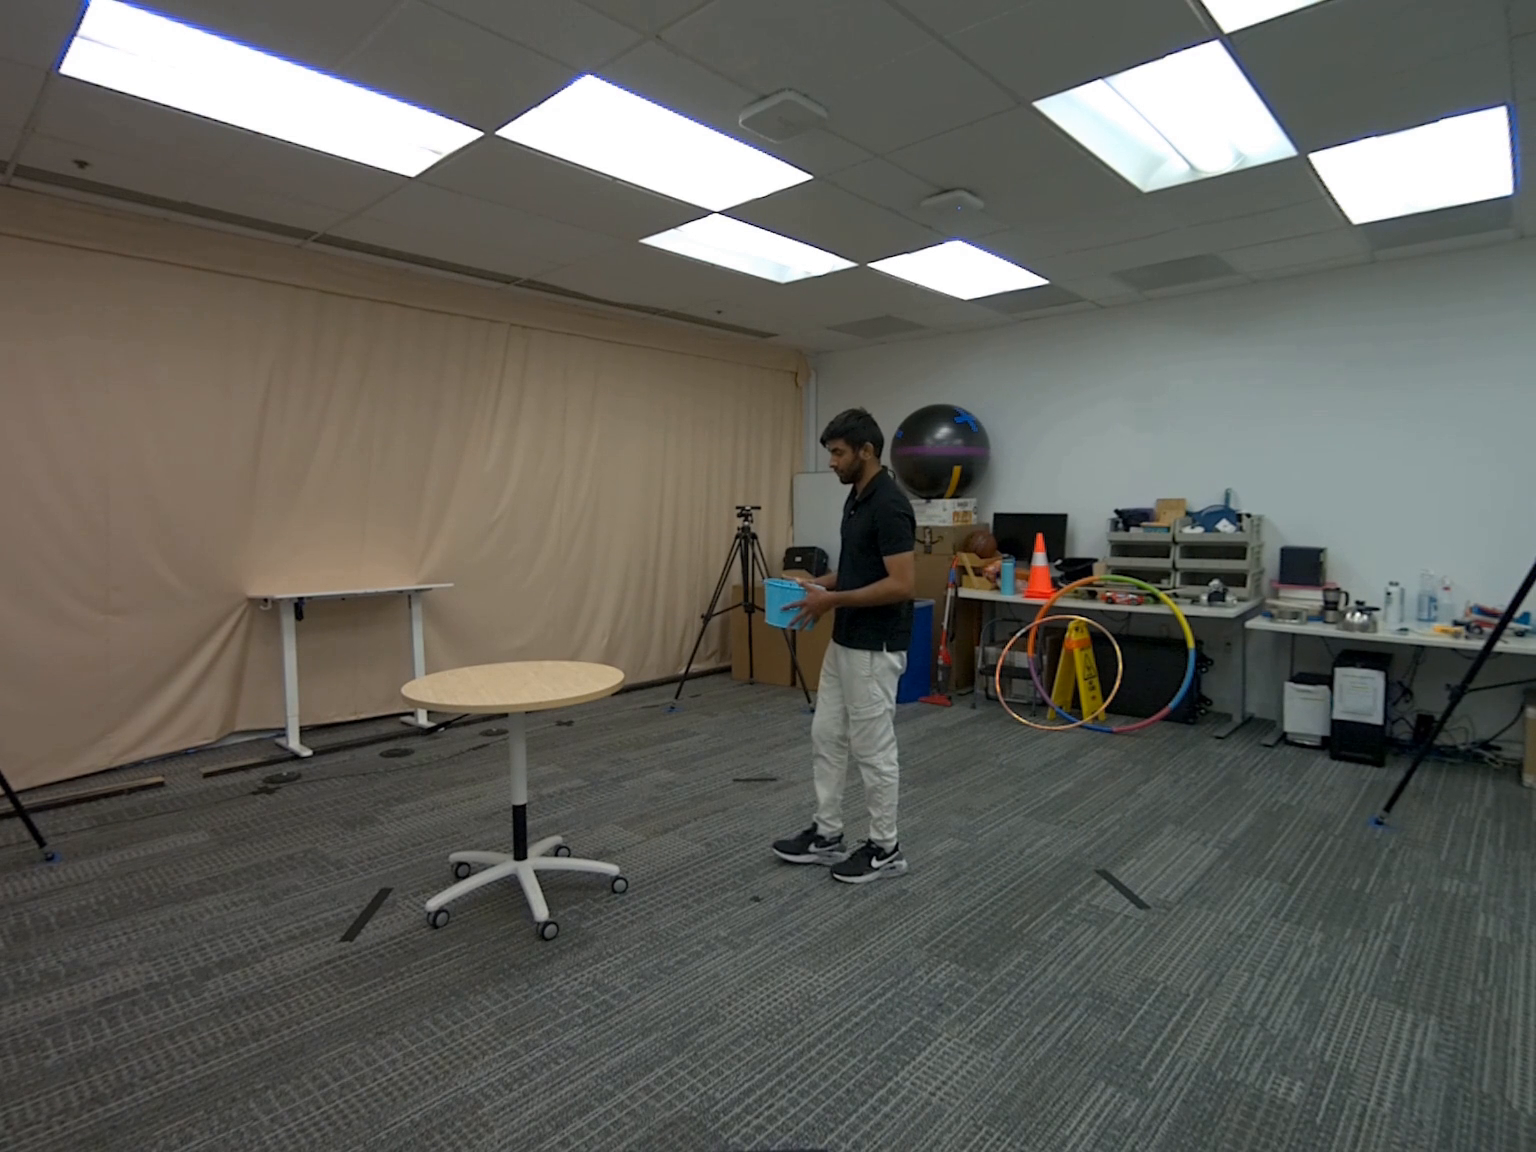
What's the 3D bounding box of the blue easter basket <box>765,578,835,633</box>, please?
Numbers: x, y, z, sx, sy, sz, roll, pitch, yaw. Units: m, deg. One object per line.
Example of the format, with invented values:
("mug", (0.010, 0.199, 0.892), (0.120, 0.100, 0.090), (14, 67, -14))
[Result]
("blue easter basket", (0.123, 0.104, 3.119), (0.243, 0.155, 0.244), (3, 5, -2))
